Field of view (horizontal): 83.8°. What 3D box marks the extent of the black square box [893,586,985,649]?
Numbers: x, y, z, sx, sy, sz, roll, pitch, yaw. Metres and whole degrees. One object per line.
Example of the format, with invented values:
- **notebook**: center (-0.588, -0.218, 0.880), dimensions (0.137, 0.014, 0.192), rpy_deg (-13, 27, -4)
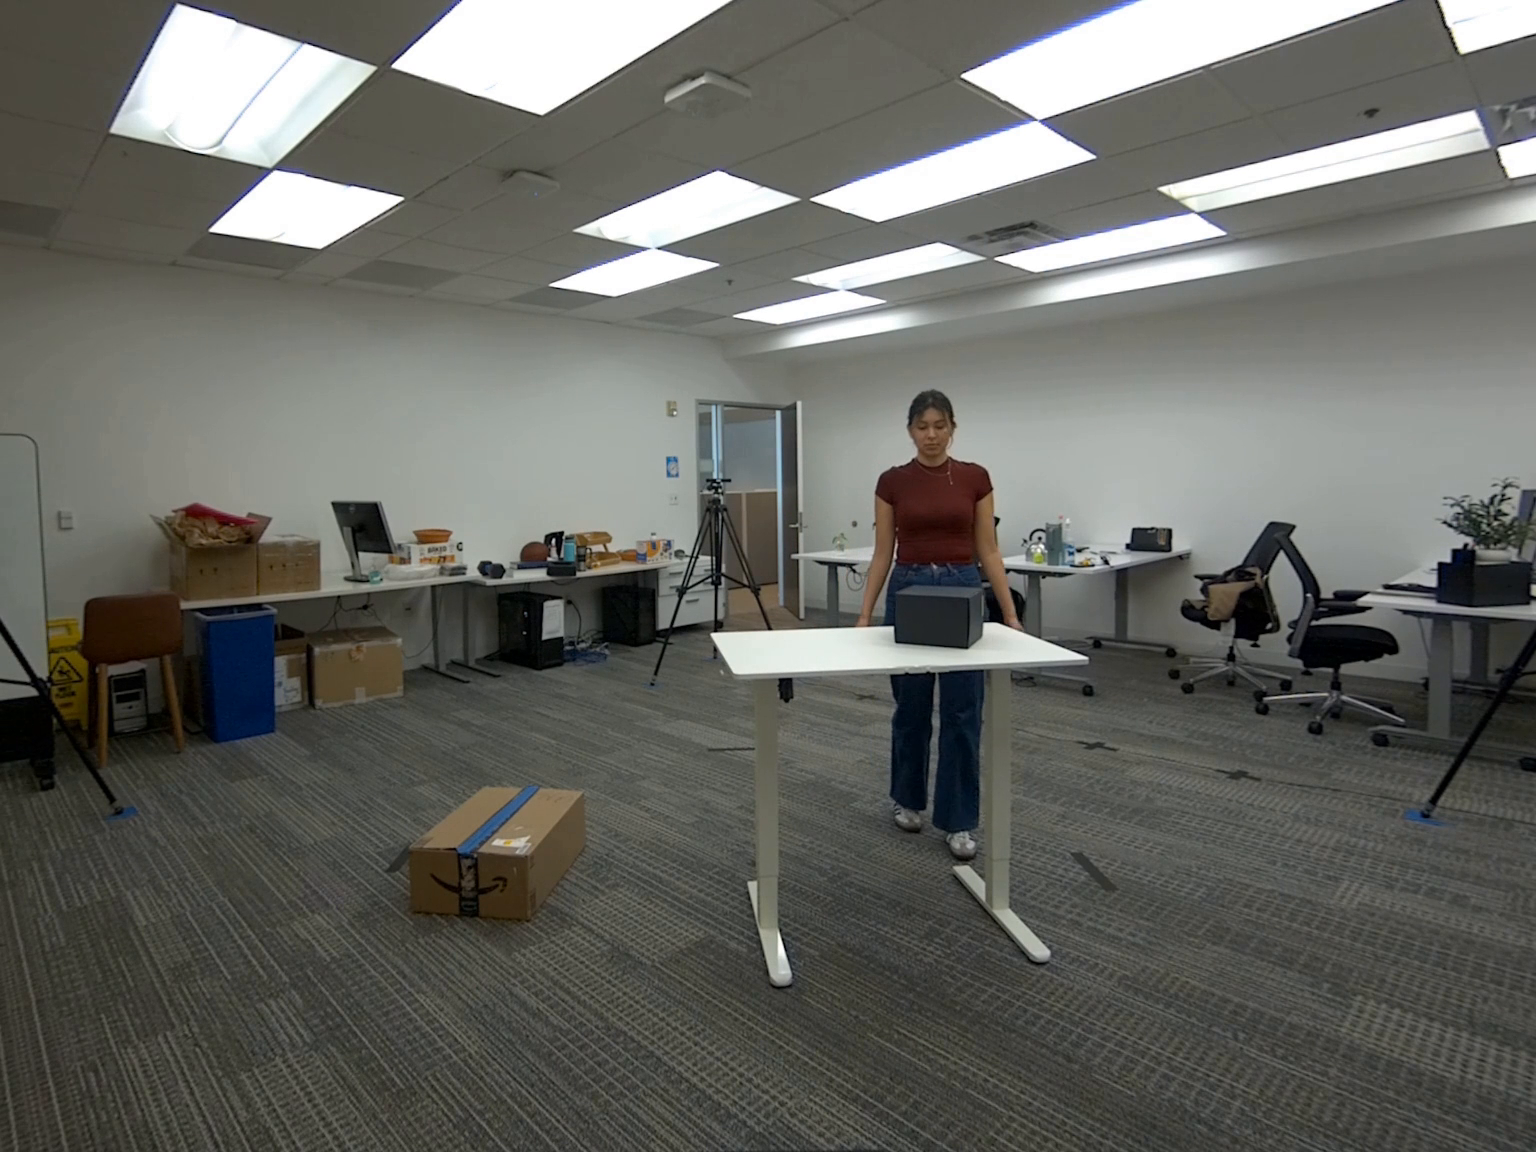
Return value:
- **black square box**: center (0.543, 0.123, 2.666), dimensions (0.233, 0.155, 0.213), rpy_deg (2, 6, 27)
